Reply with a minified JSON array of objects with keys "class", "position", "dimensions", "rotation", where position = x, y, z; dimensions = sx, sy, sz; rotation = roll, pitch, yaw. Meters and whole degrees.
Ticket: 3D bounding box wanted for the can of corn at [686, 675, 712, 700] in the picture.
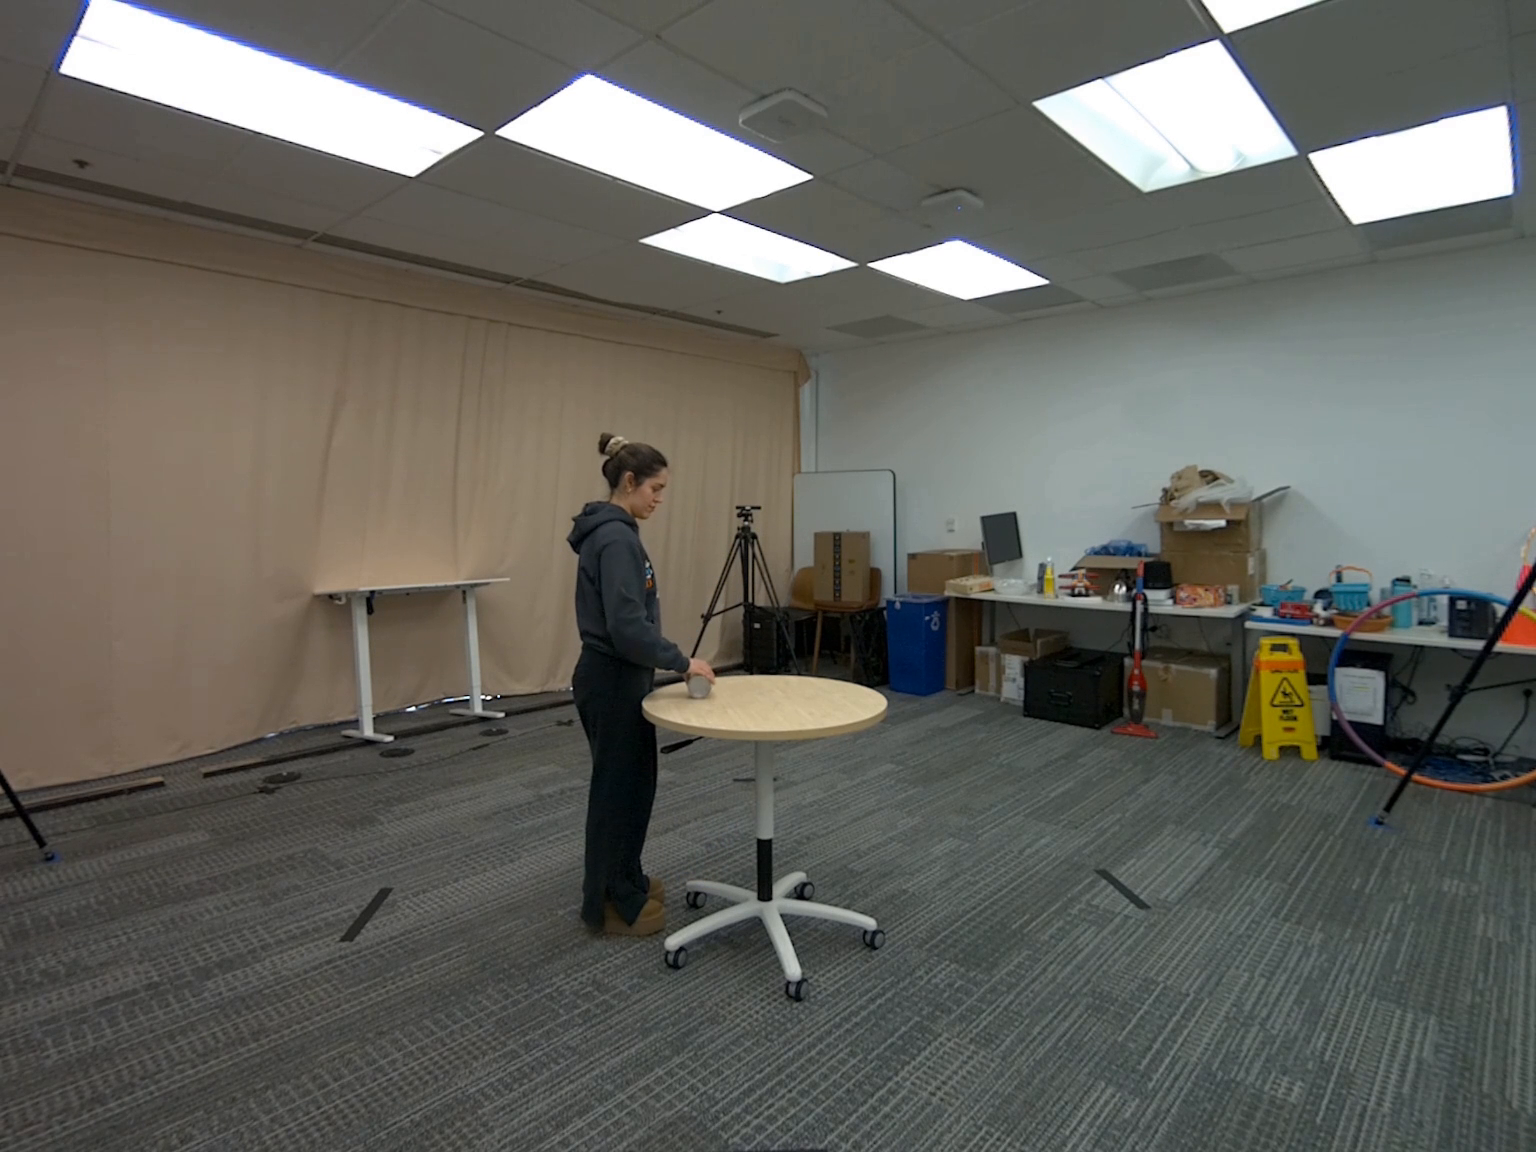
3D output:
[{"class":"can of corn","position":[-0.203,0.345,2.699],"dimensions":[0.074,0.074,0.111],"rotation":[0,8,-1]}]
